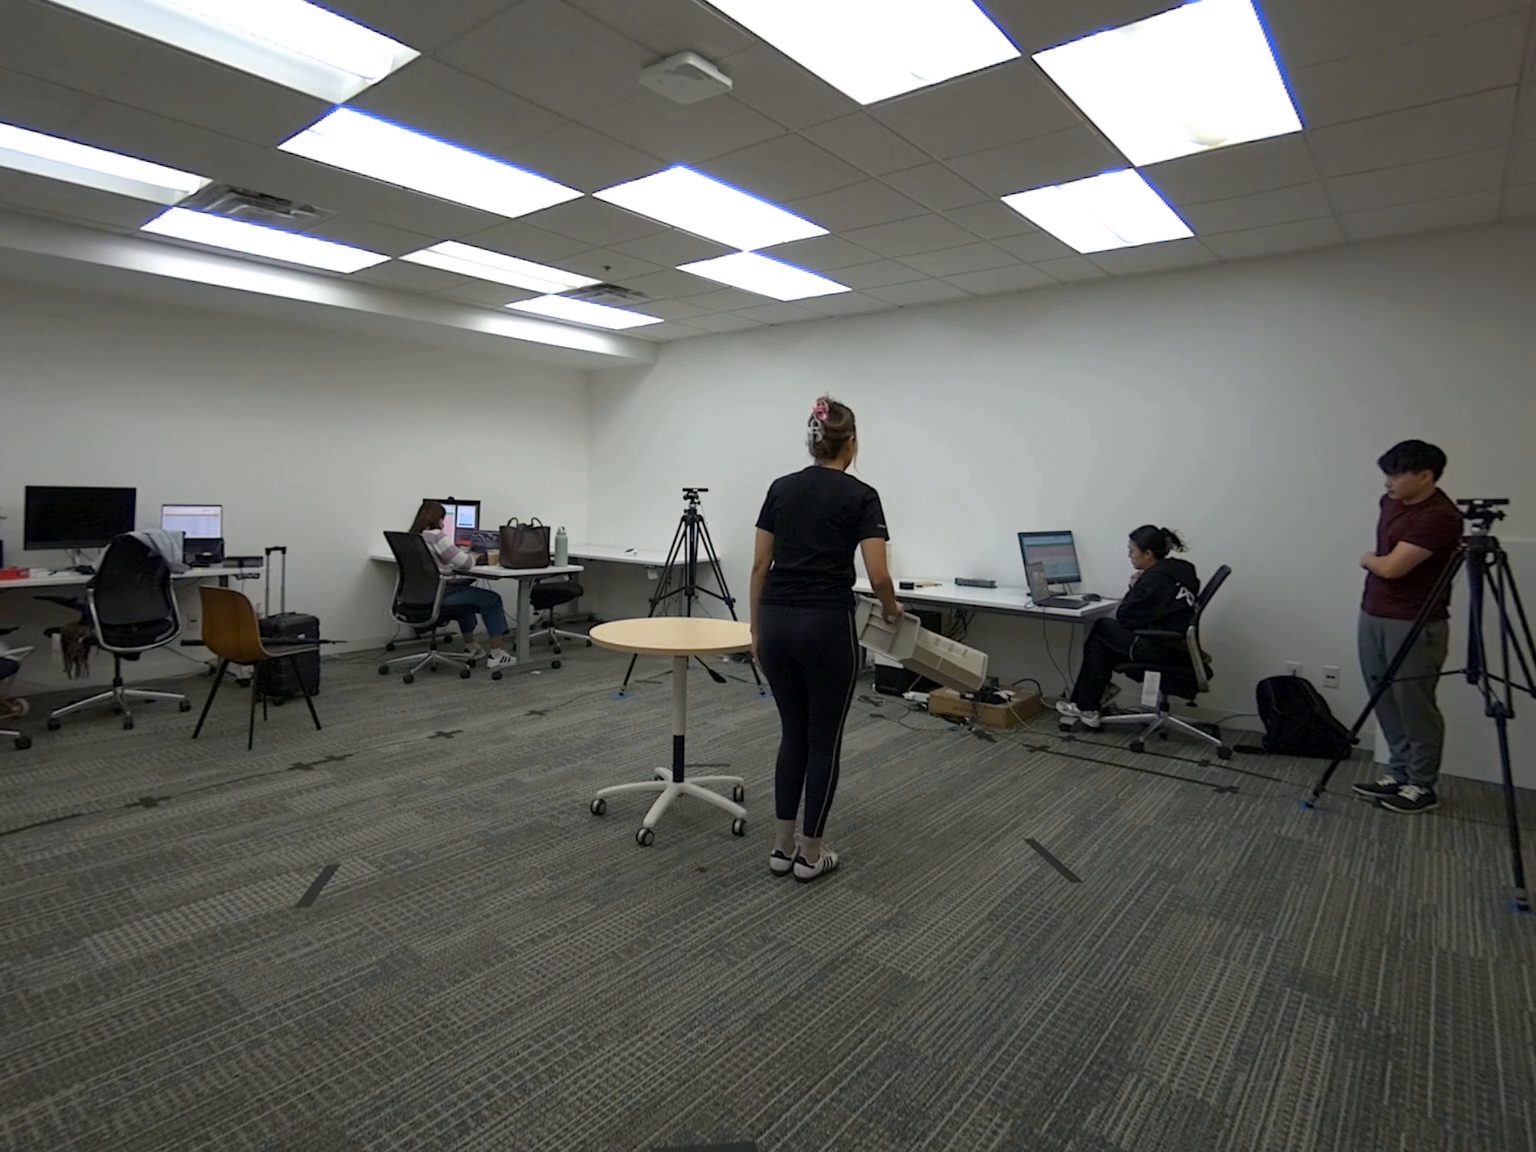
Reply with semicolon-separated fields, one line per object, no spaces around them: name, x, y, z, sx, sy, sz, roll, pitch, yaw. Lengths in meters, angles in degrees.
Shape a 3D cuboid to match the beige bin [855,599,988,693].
beige bin;0.575;0.274;3.293;0.407;0.189;0.391;26;-5;-34
